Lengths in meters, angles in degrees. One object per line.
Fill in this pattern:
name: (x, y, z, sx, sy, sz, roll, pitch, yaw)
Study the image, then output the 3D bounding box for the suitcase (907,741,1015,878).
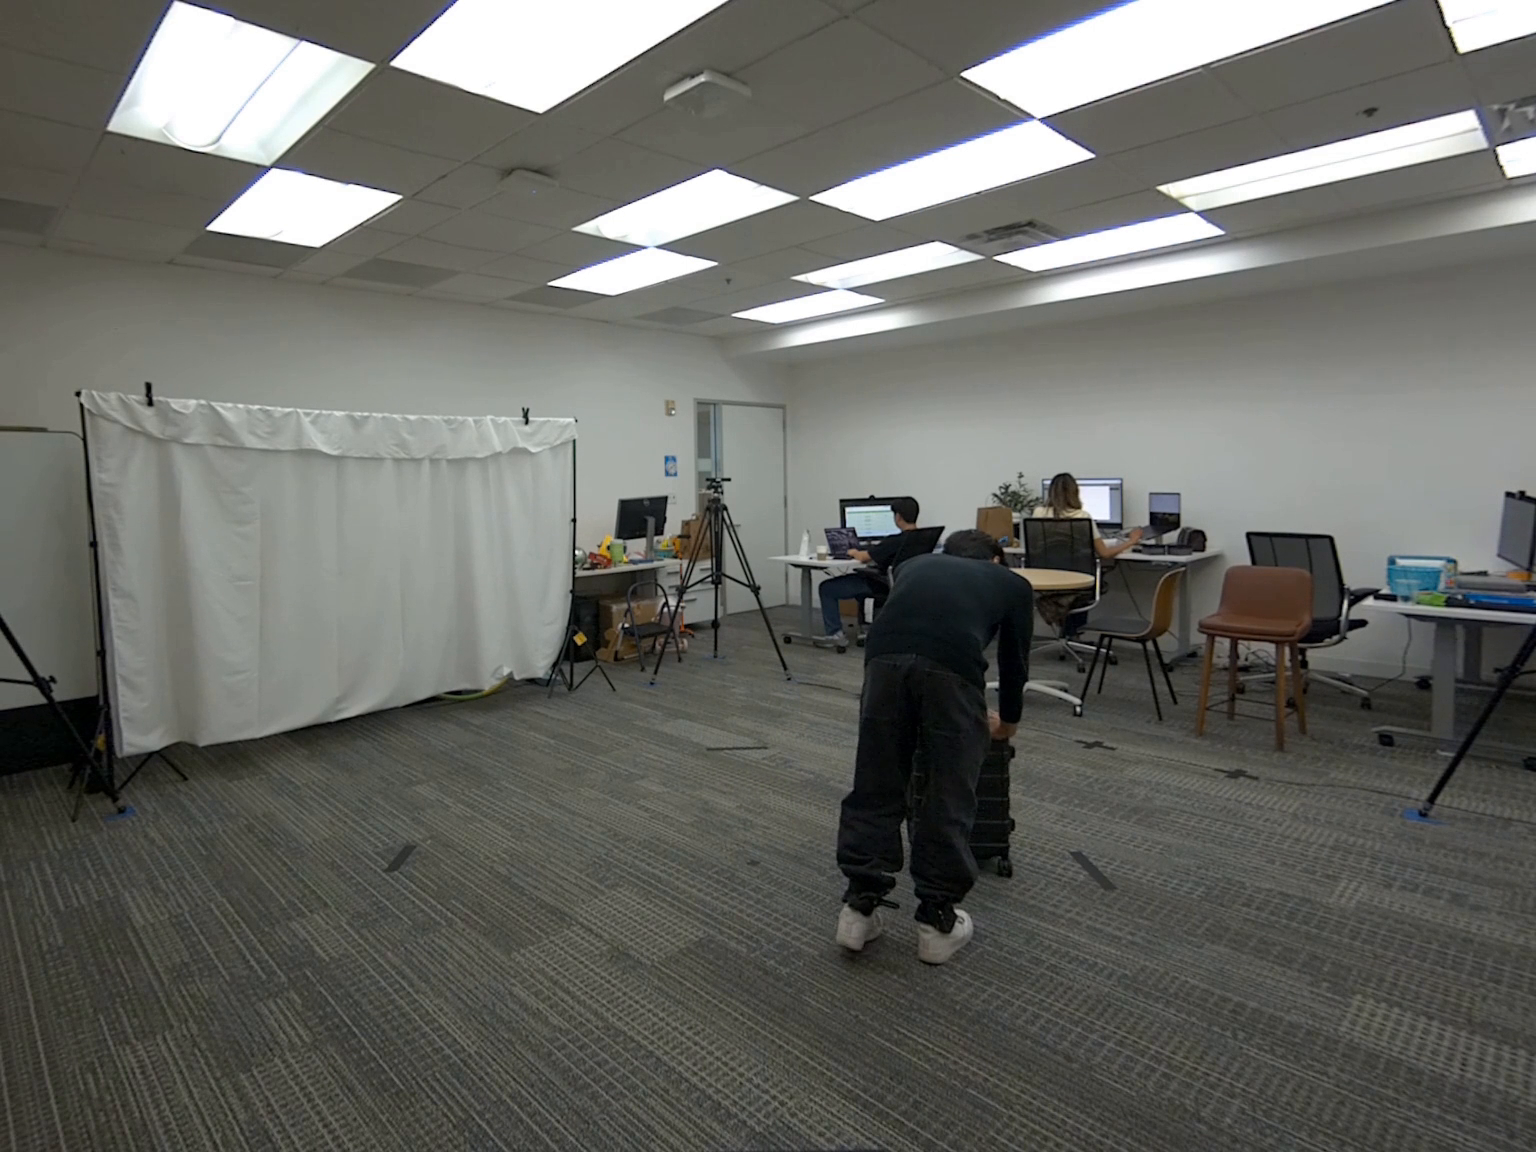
suitcase: (0.692, 0.755, 3.108, 0.377, 0.549, 0.247, -2, 1, 4)
